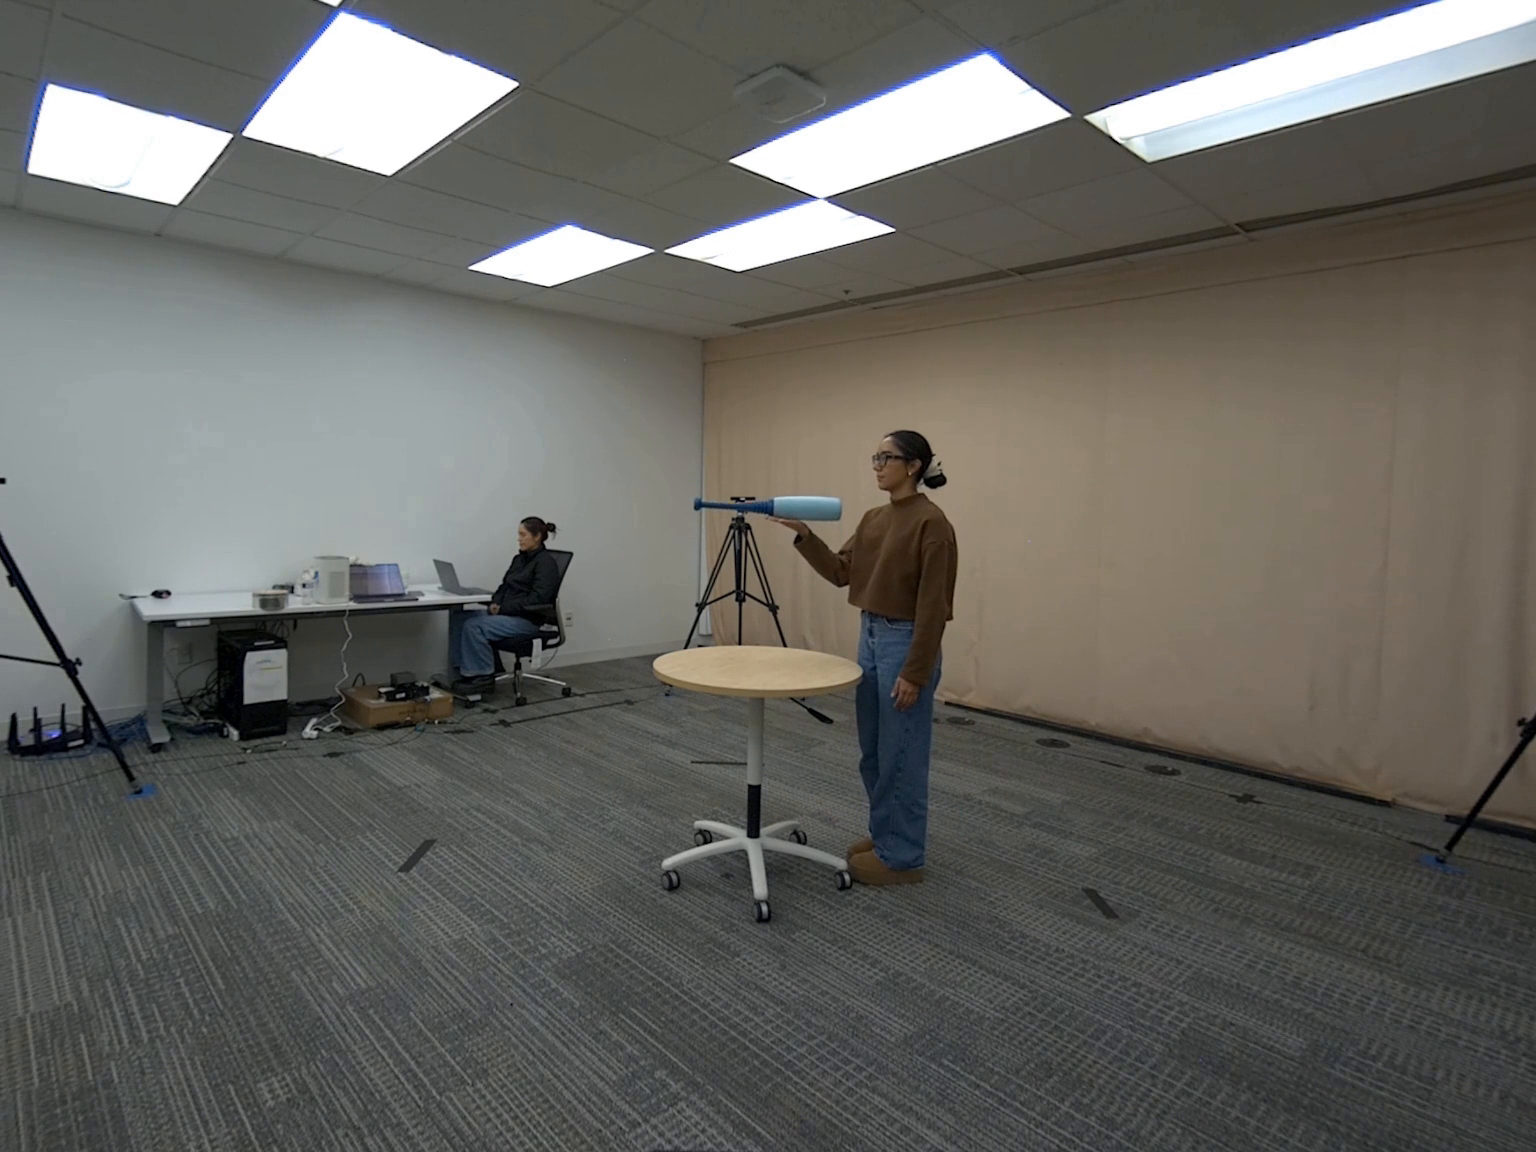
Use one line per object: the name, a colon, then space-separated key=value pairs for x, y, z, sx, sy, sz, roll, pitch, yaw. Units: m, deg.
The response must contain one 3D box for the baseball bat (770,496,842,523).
baseball bat: x=0.009 y=-0.253 z=3.083 sx=0.542 sy=0.089 sz=0.089 roll=3 pitch=4 yaw=-1
